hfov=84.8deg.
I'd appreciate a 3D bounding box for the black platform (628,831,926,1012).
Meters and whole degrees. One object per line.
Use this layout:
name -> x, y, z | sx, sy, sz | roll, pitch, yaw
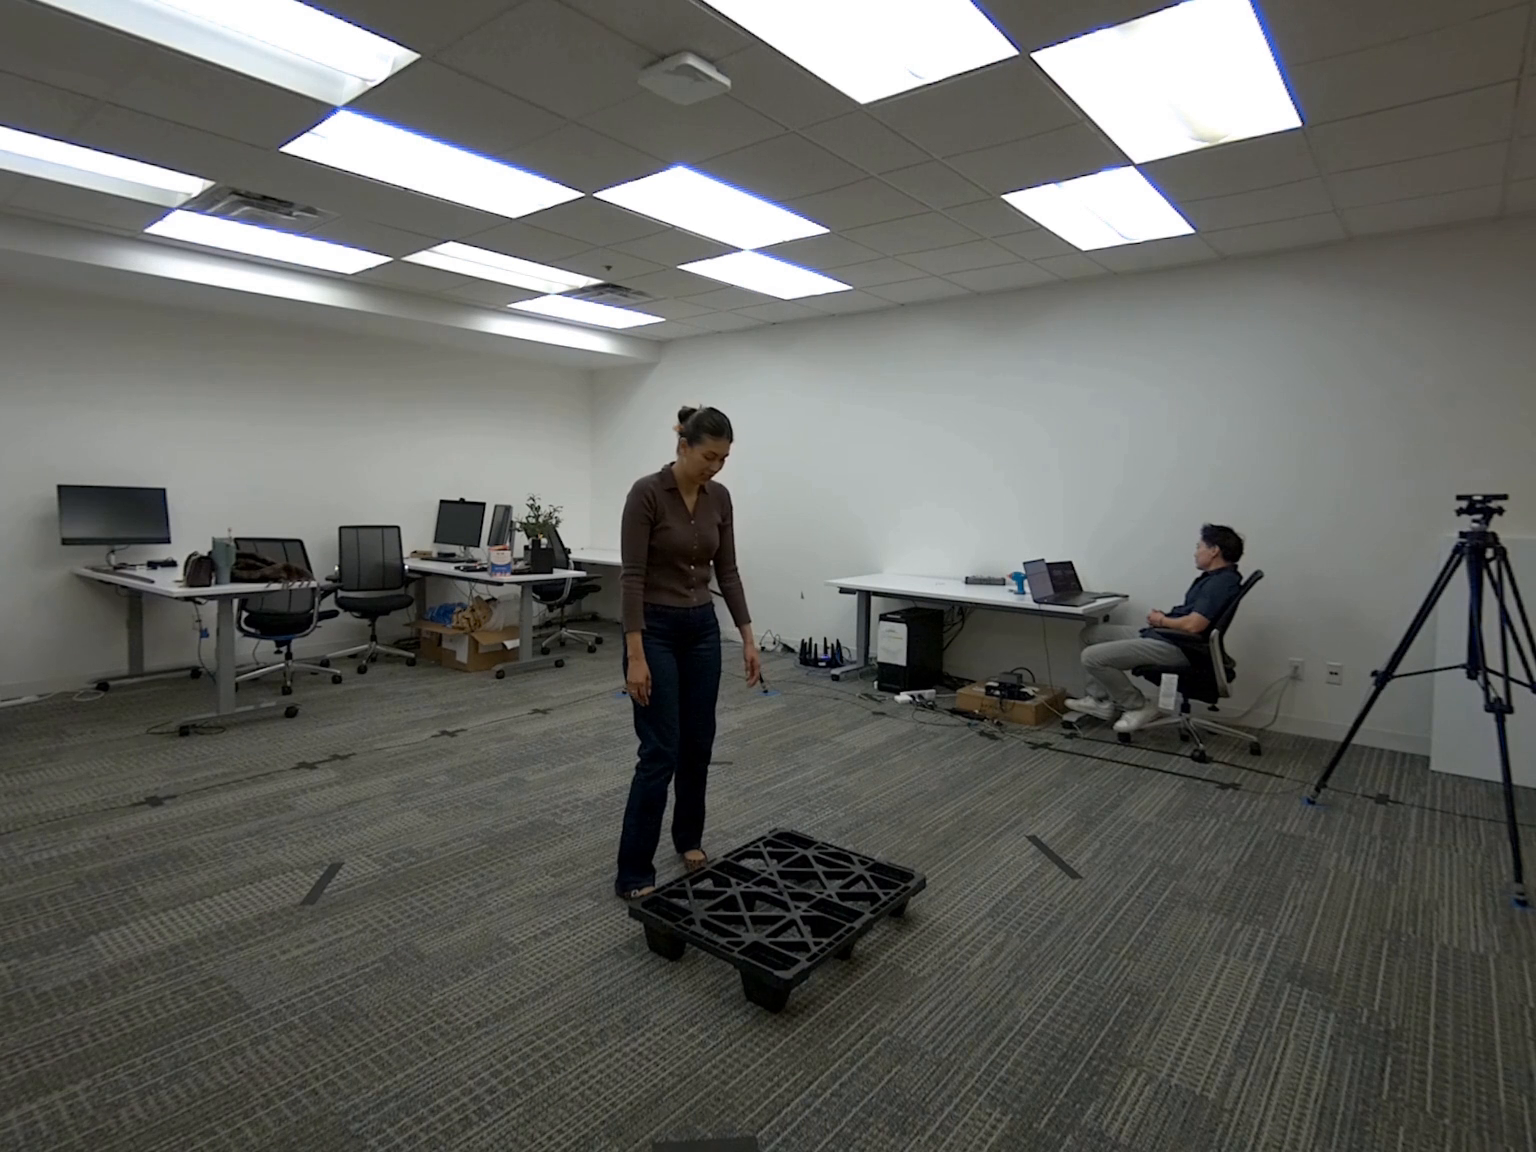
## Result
black platform -> 0.035, 1.047, 2.674 | 0.625, 0.143, 0.782 | 5, 7, 38
